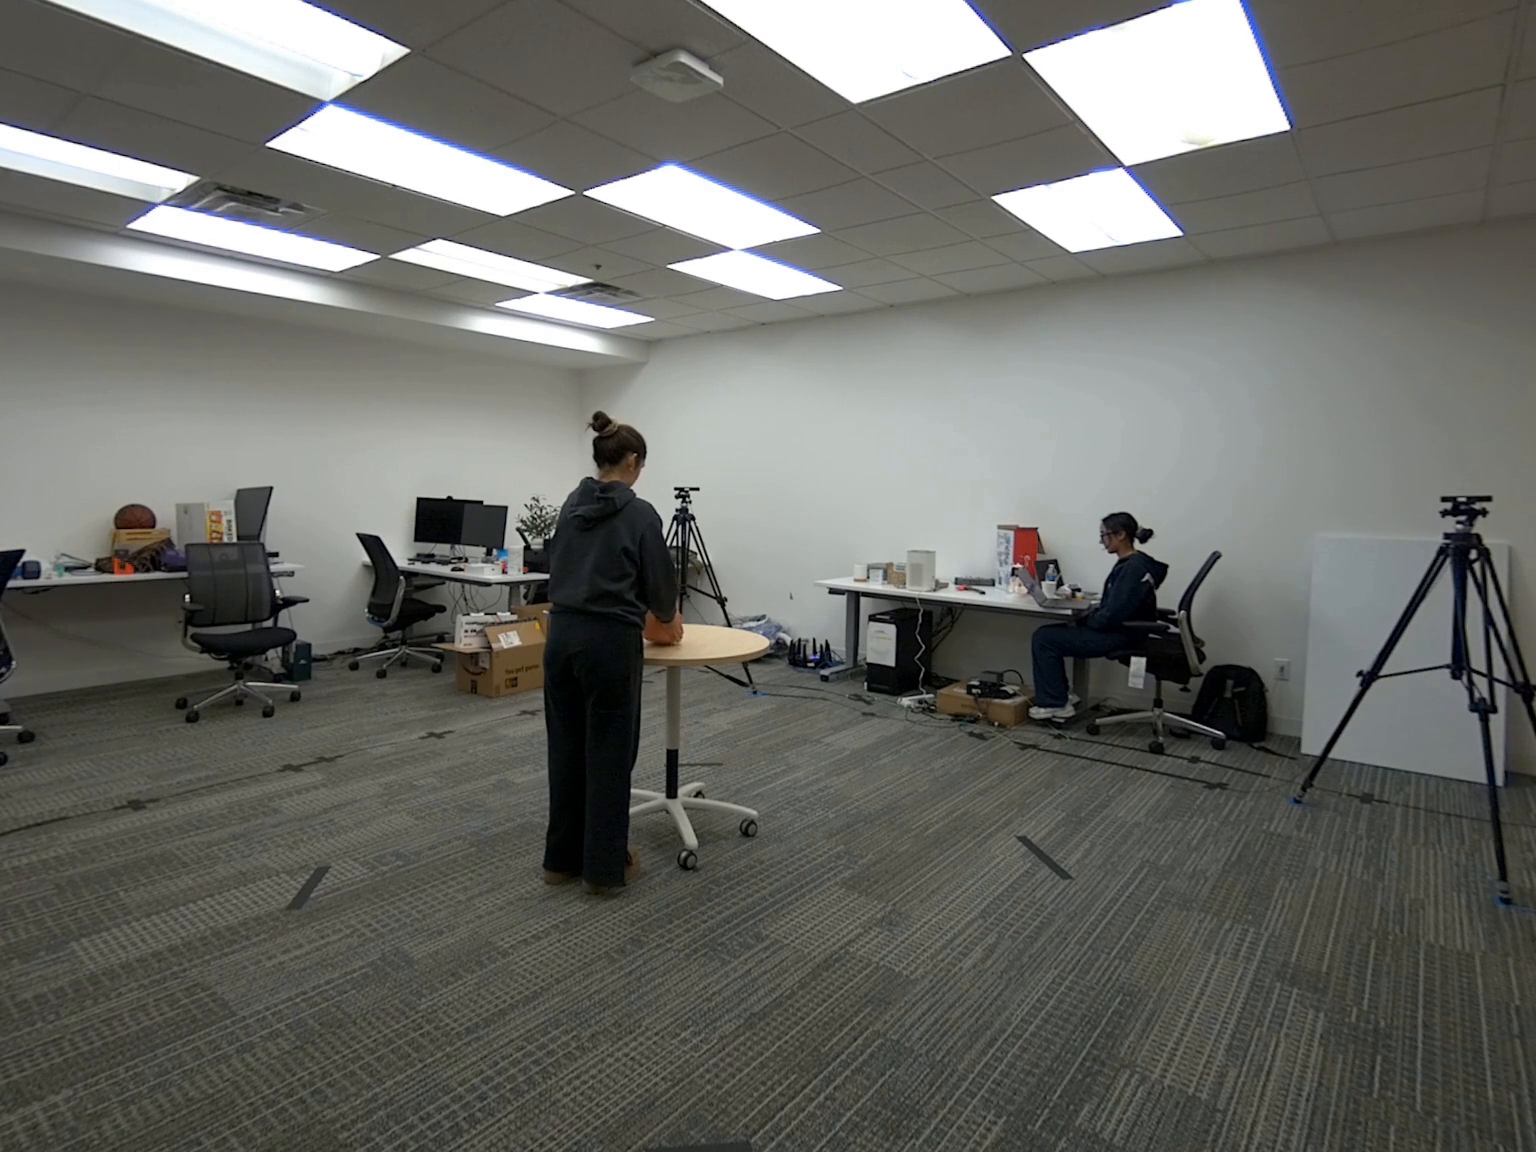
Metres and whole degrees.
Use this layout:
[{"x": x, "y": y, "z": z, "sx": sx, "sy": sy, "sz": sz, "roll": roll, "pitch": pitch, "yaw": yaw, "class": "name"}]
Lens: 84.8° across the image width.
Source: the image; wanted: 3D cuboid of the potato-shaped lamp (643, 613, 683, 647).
[{"x": -0.419, "y": 0.157, "z": 3.313, "sx": 0.169, "sy": 0.198, "sz": 0.166, "roll": -2, "pitch": -1, "yaw": 37, "class": "potato-shaped lamp"}]
